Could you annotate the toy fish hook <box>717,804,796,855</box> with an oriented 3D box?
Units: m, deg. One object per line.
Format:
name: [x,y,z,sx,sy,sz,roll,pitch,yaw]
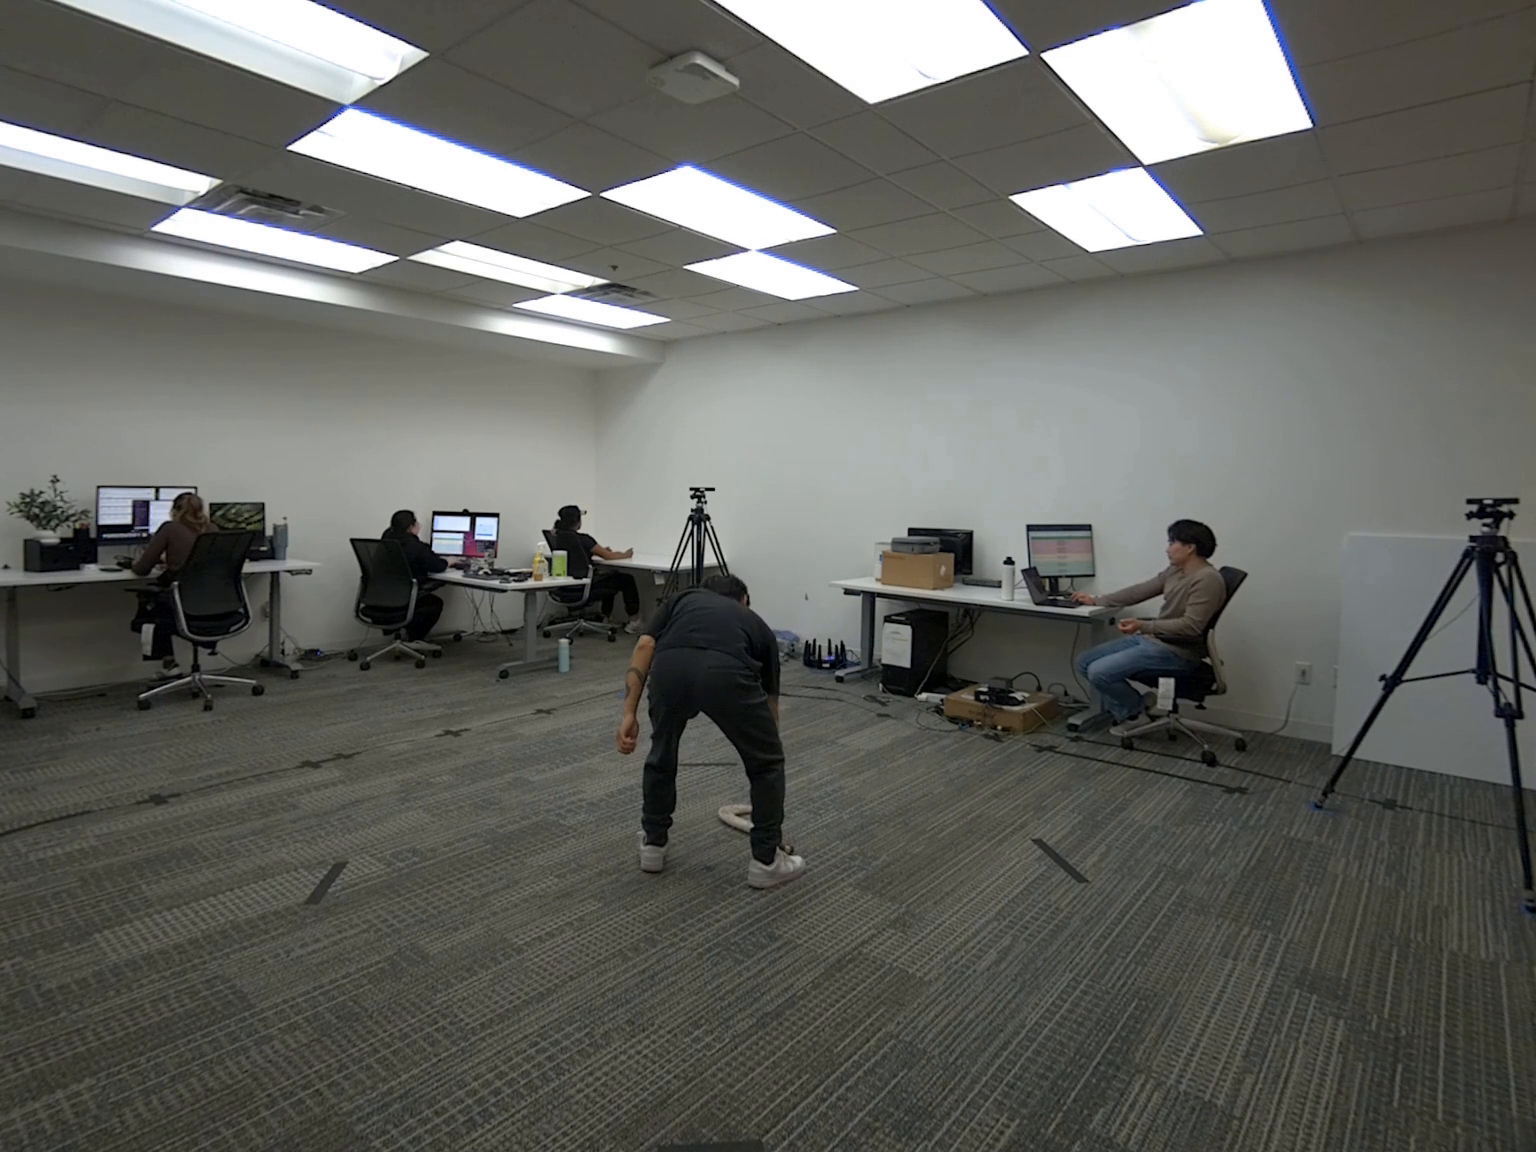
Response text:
toy fish hook: [-0.023,1.009,3.455,0.218,0.048,0.523,-5,8,-33]
